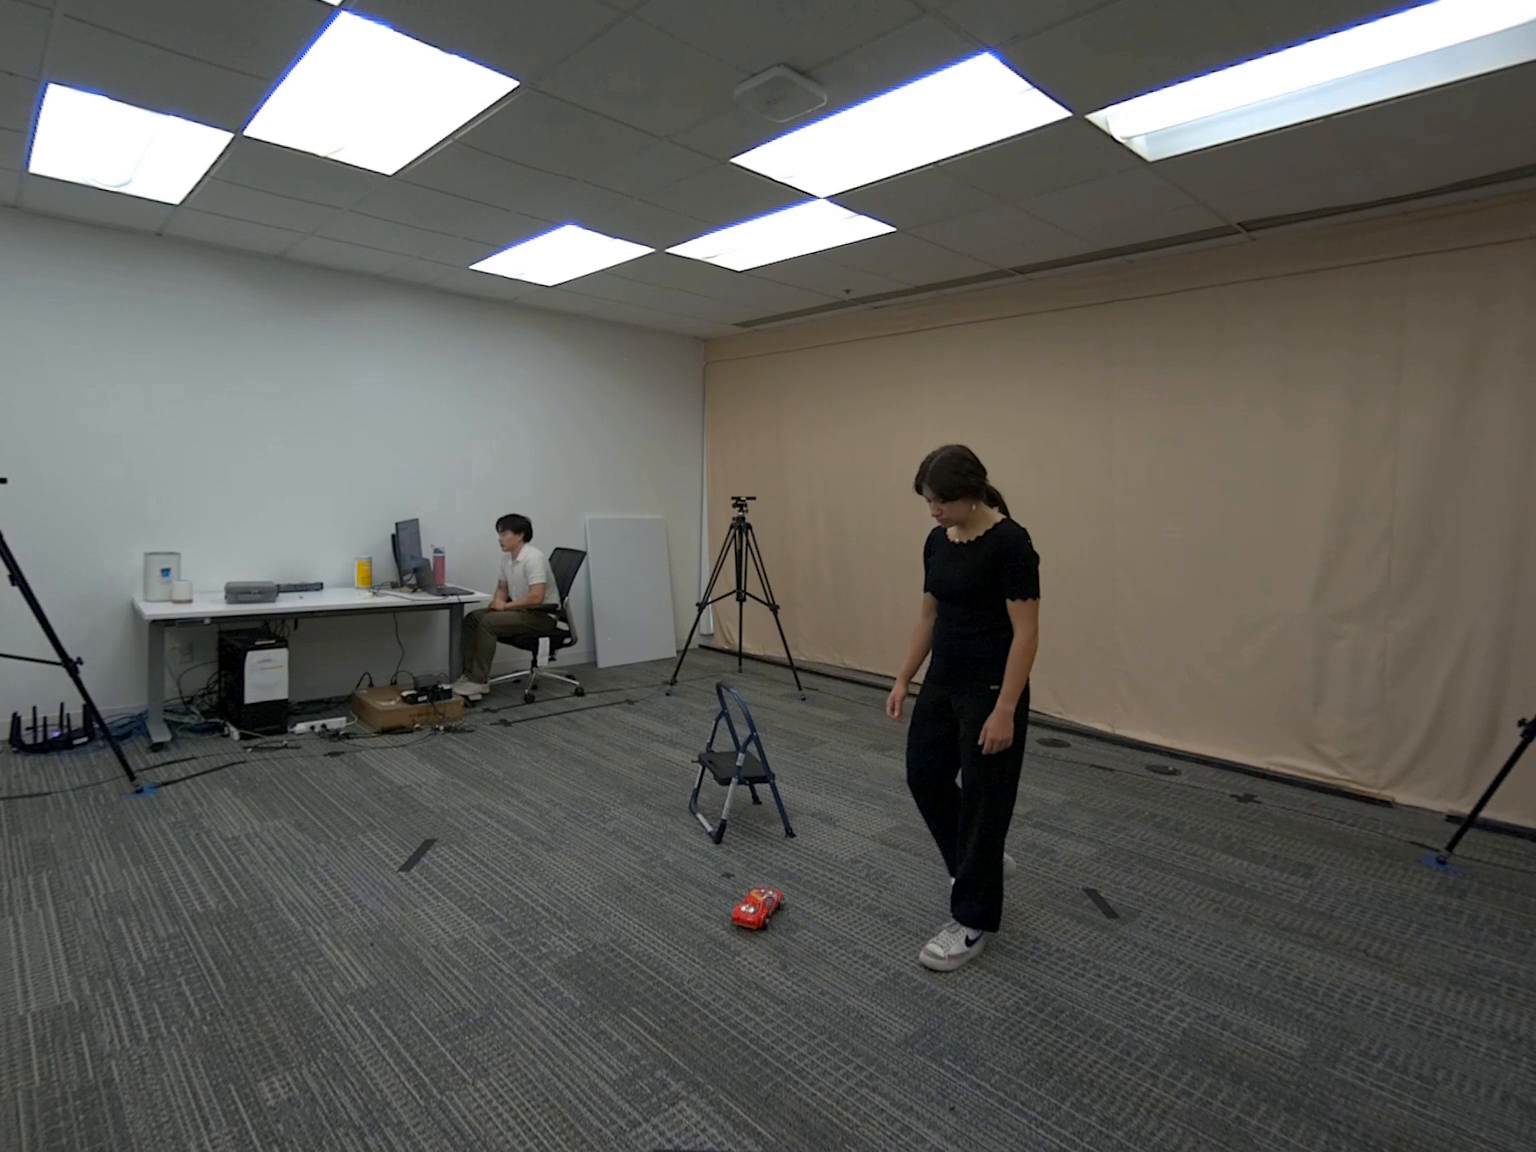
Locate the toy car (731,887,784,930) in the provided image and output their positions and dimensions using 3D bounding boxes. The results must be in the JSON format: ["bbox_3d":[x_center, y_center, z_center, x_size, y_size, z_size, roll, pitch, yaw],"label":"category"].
[{"bbox_3d":[-0.045,1.111,2.781,0.132,0.083,0.249,6,-4,21],"label":"toy car"}]
